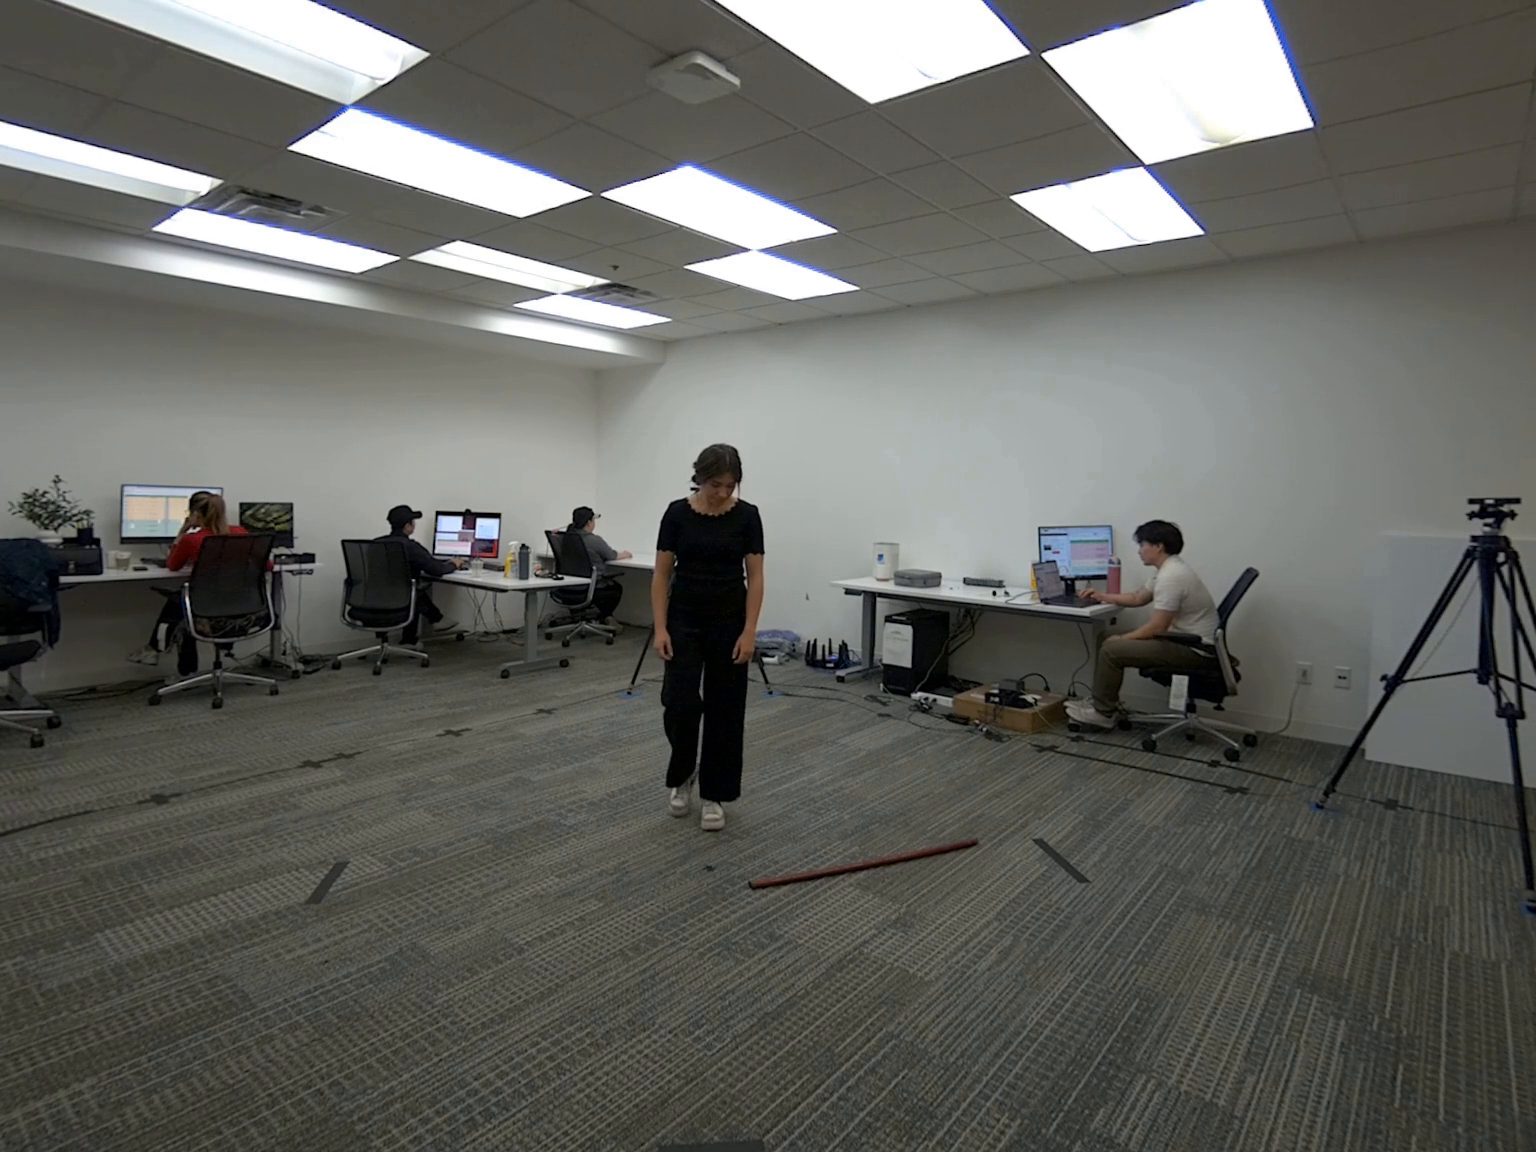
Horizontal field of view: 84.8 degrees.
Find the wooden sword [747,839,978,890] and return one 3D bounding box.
[{"bbox_3d":[0.389,1.061,3.166,1.000,0.052,0.024,-1,-20,-25],"label":"wooden sword"}]
